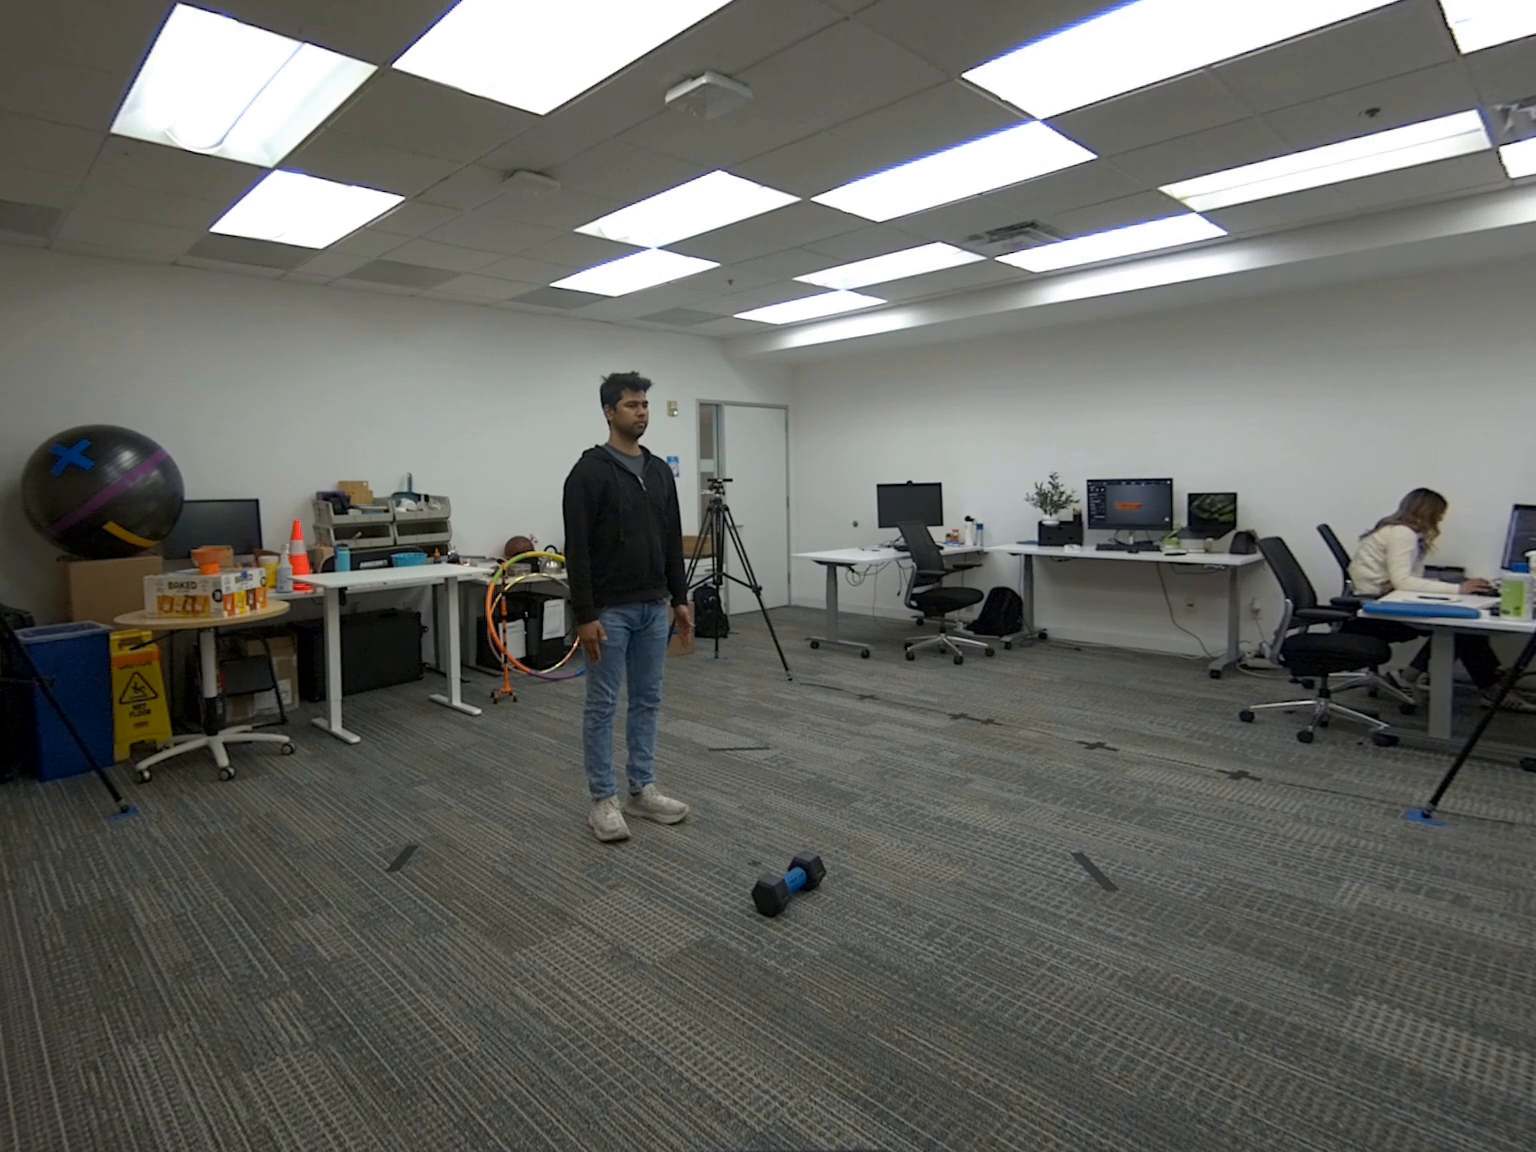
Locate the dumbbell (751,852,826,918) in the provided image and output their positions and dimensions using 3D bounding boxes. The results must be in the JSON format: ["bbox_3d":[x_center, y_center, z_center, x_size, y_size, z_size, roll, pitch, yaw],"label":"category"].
[{"bbox_3d":[0.079,1.018,2.840,0.109,0.125,0.286,-35,-15,34],"label":"dumbbell"}]
